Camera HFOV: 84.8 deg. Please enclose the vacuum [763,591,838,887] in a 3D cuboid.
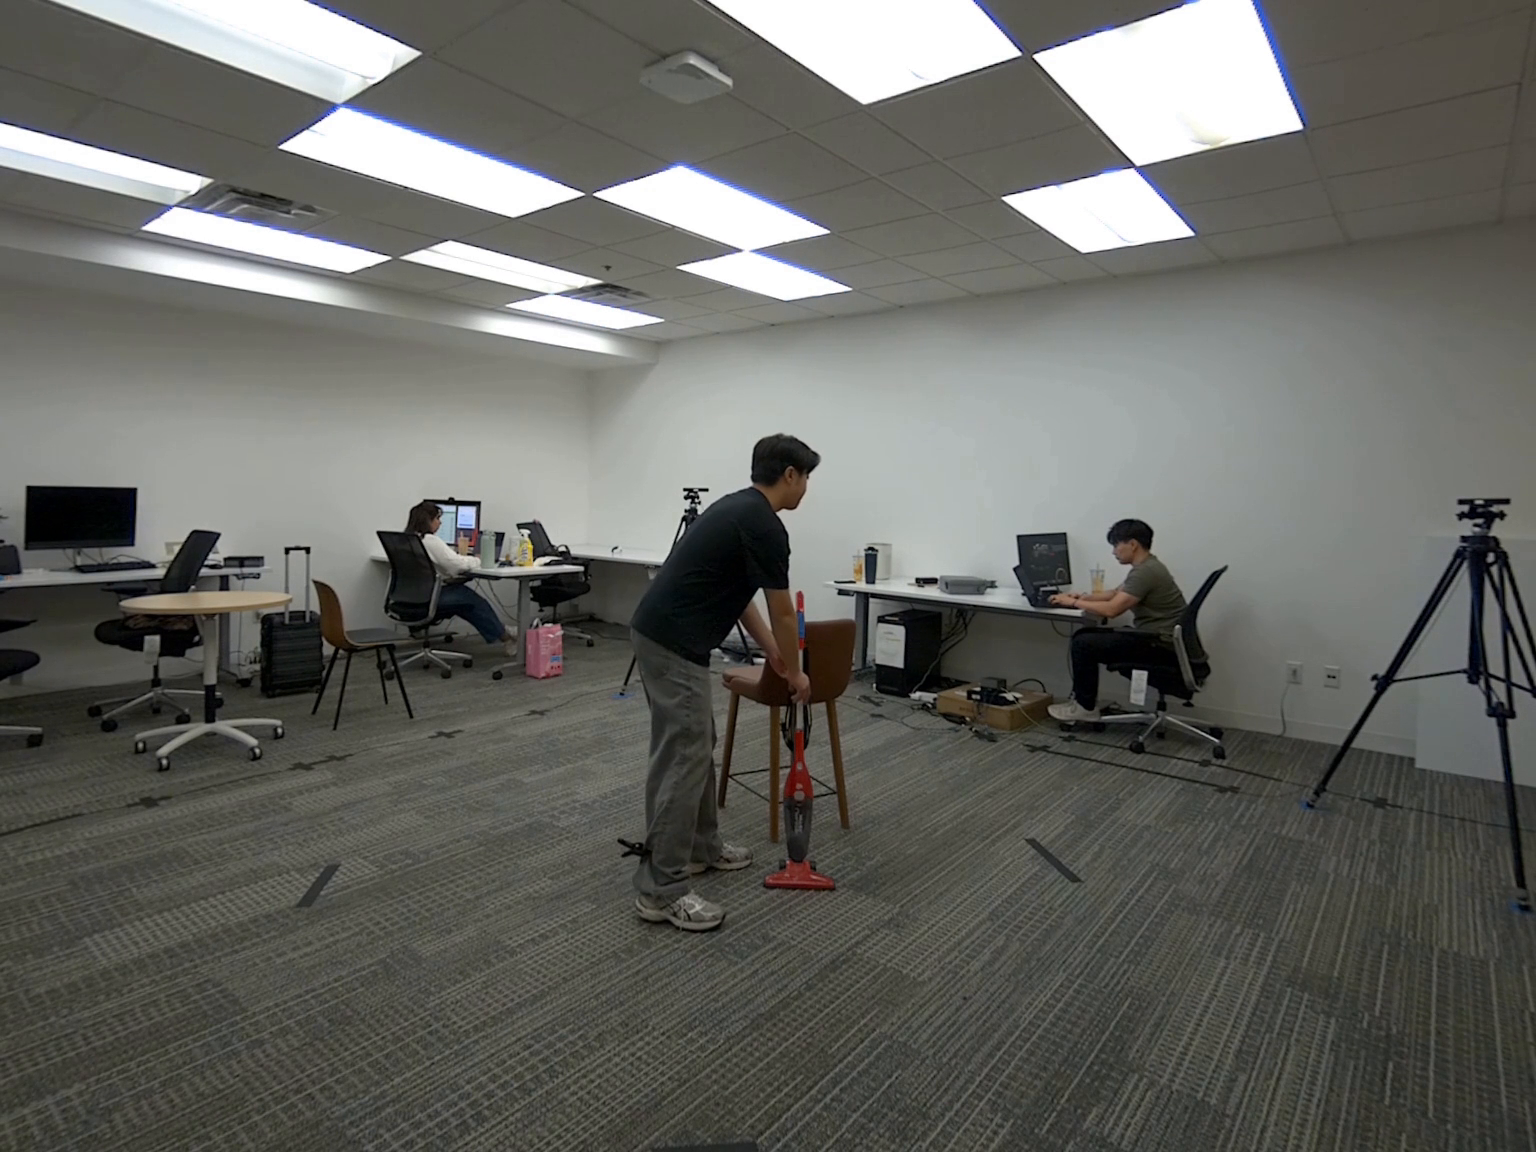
[{"bbox_3d":[0.110,0.577,3.198,0.251,1.066,0.142,2,-17,-5],"label":"vacuum"}]
